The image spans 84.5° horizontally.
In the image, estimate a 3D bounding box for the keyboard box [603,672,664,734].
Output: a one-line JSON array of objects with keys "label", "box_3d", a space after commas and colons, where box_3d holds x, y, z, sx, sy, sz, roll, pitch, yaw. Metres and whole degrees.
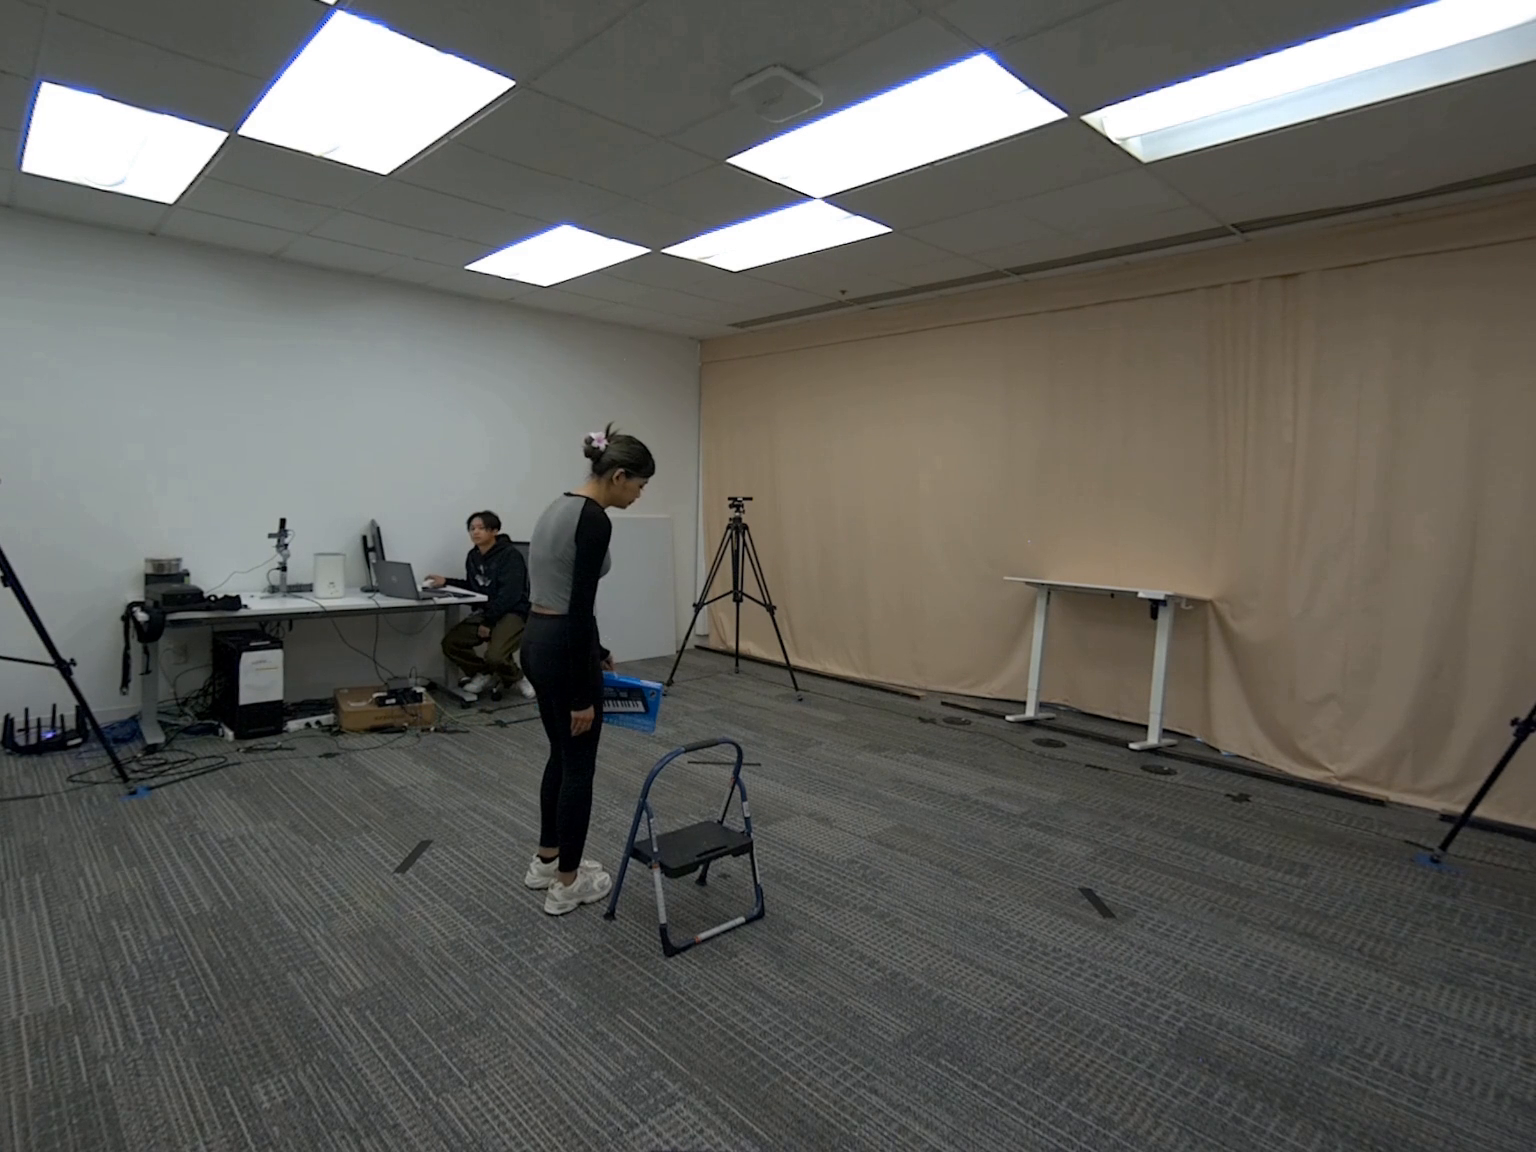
[{"label": "keyboard box", "box_3d": [-0.625, 0.448, 3.100, 0.437, 0.175, 0.059, 10, 8, 2]}]
